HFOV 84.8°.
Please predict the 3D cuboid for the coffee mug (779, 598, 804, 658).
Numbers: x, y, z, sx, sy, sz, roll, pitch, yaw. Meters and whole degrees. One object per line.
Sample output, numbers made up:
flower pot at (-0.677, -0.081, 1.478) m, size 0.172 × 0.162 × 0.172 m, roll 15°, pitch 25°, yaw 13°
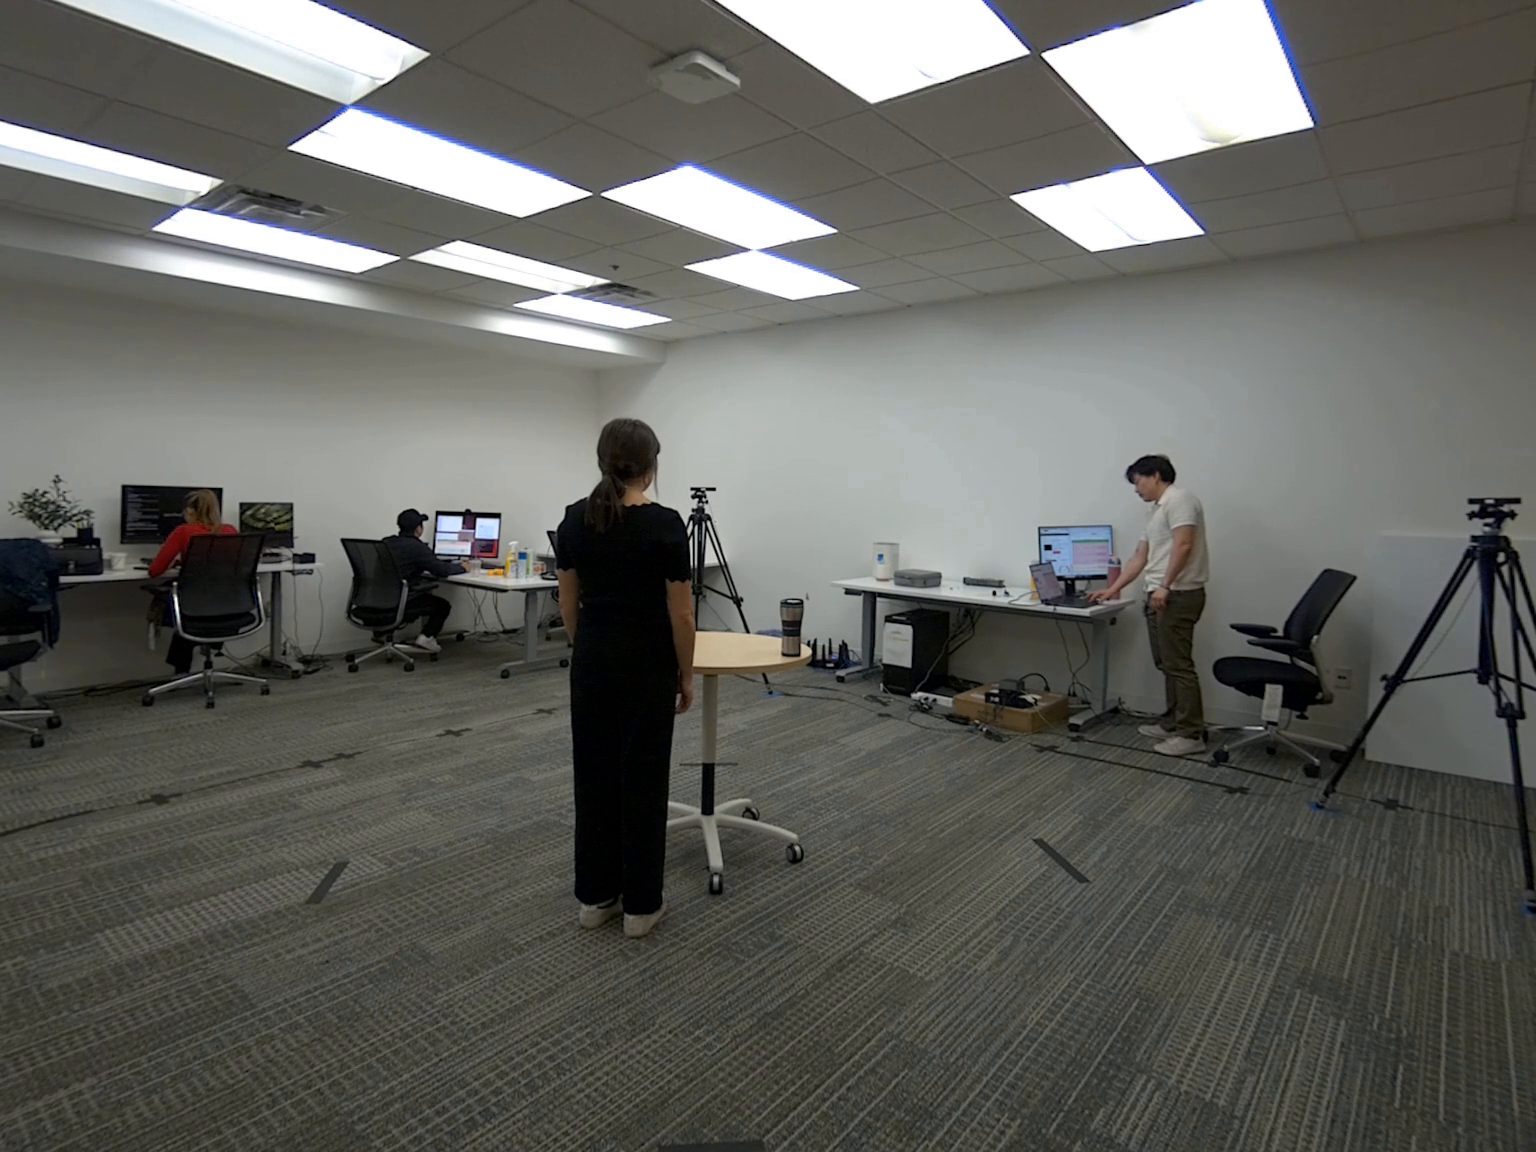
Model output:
coffee mug at (0.080, 0.185, 3.122) m, size 0.090 × 0.202 × 0.119 m, roll 0°, pitch 5°, yaw 26°
